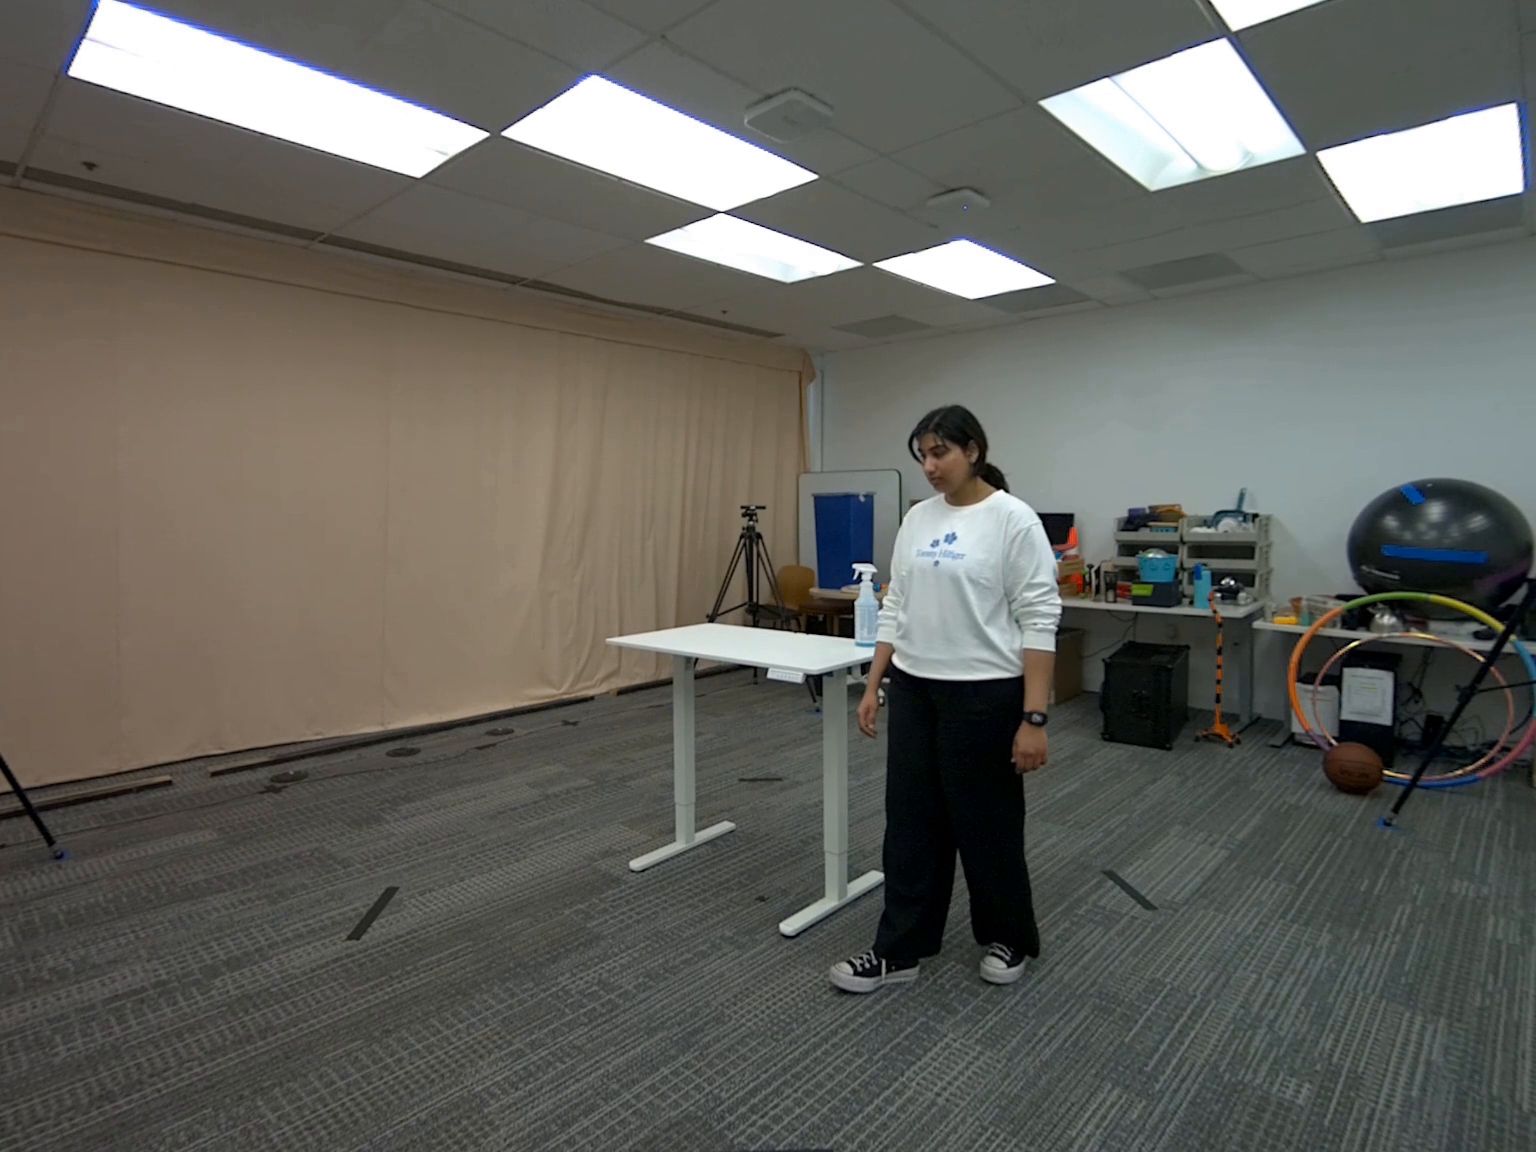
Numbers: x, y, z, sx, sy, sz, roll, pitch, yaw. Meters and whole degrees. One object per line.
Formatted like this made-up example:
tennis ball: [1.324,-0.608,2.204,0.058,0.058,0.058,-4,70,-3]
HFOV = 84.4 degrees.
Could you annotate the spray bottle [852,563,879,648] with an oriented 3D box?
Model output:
spray bottle: [0.365,0.106,3.041,0.091,0.297,0.086,1,3,13]
